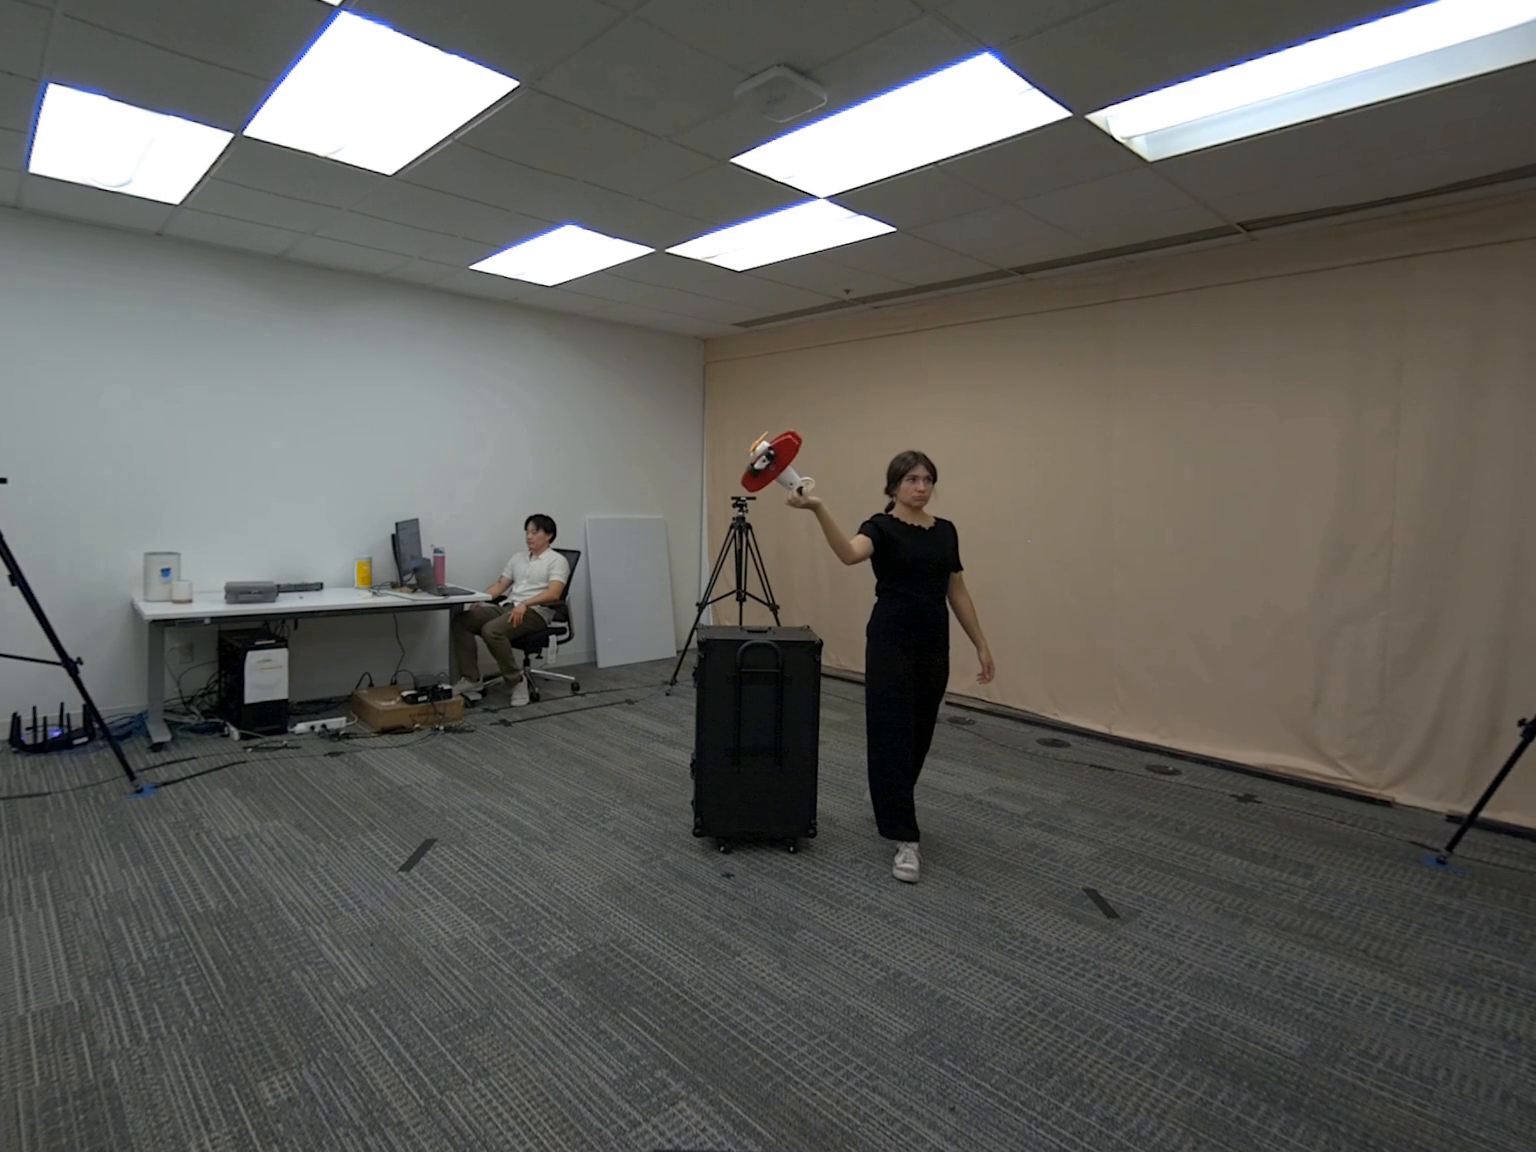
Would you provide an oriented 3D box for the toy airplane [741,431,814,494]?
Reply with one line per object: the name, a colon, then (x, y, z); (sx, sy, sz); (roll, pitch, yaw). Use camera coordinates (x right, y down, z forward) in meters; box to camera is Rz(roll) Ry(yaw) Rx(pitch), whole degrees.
toy airplane: (0.022, -0.369, 3.000); (0.253, 0.252, 0.159); (-15, 32, 11)
